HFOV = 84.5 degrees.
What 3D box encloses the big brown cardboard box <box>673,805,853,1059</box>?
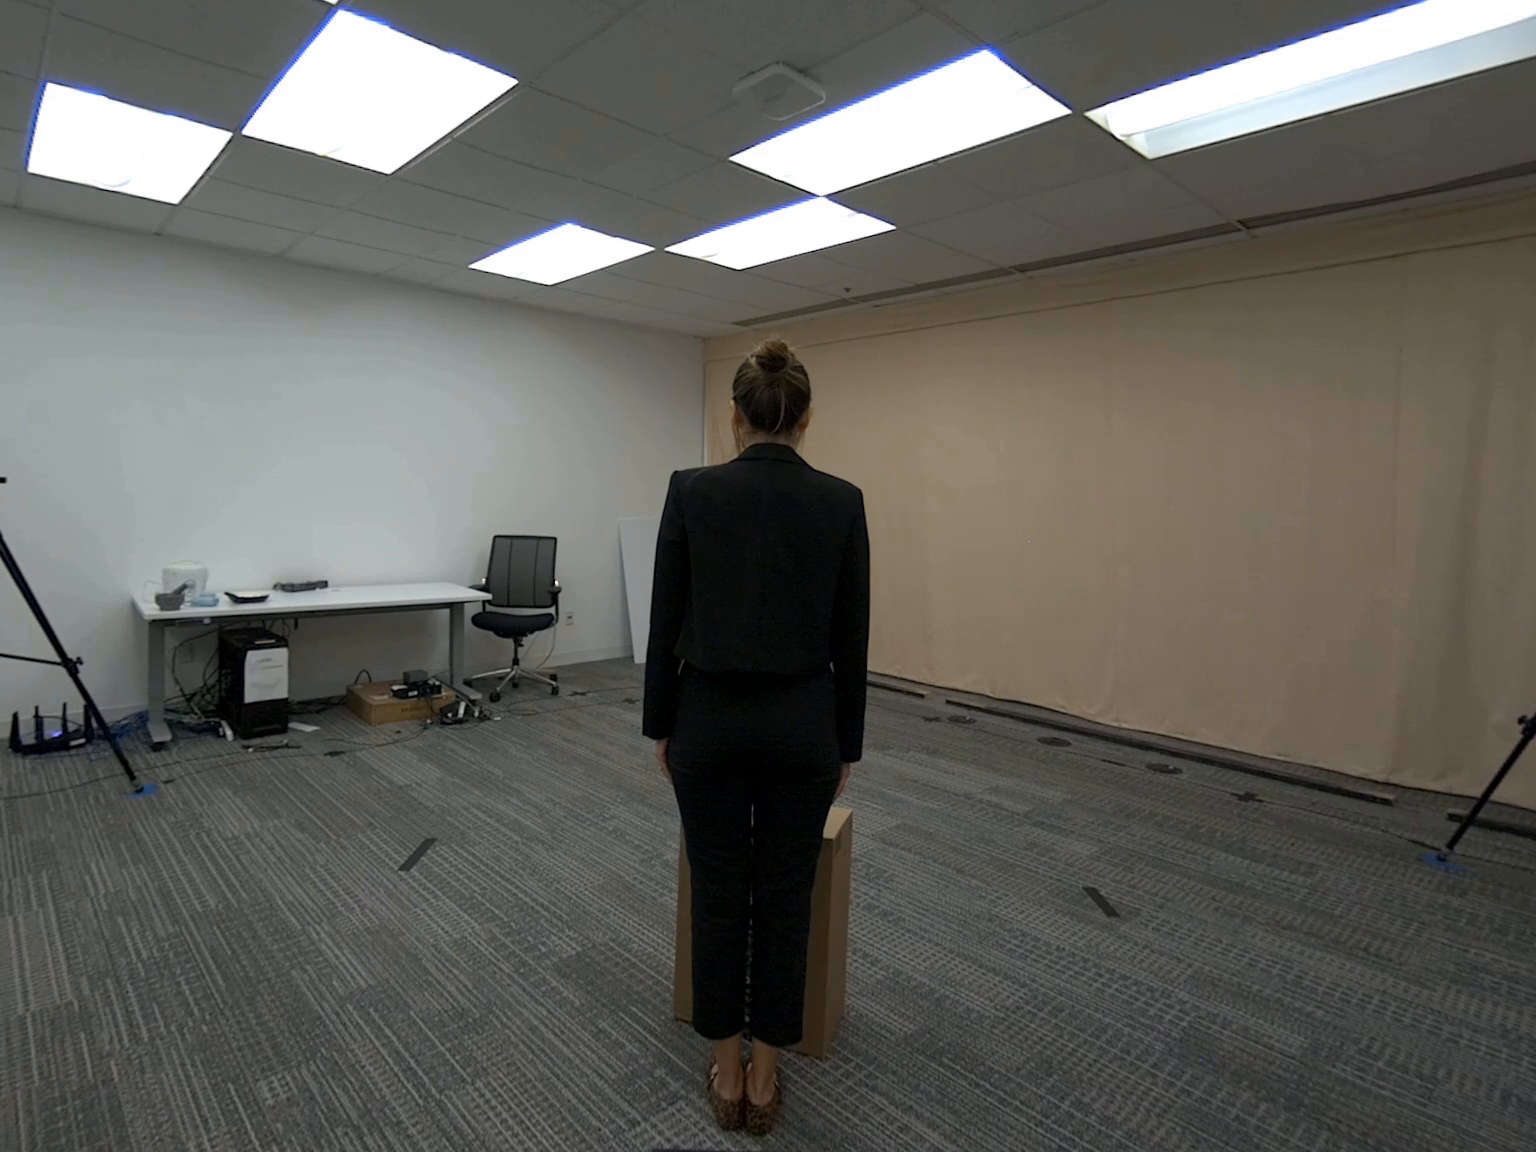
[{"bbox_3d":[-0.011,0.911,2.242,0.424,0.587,0.230,4,5,20],"label":"big brown cardboard box"}]
